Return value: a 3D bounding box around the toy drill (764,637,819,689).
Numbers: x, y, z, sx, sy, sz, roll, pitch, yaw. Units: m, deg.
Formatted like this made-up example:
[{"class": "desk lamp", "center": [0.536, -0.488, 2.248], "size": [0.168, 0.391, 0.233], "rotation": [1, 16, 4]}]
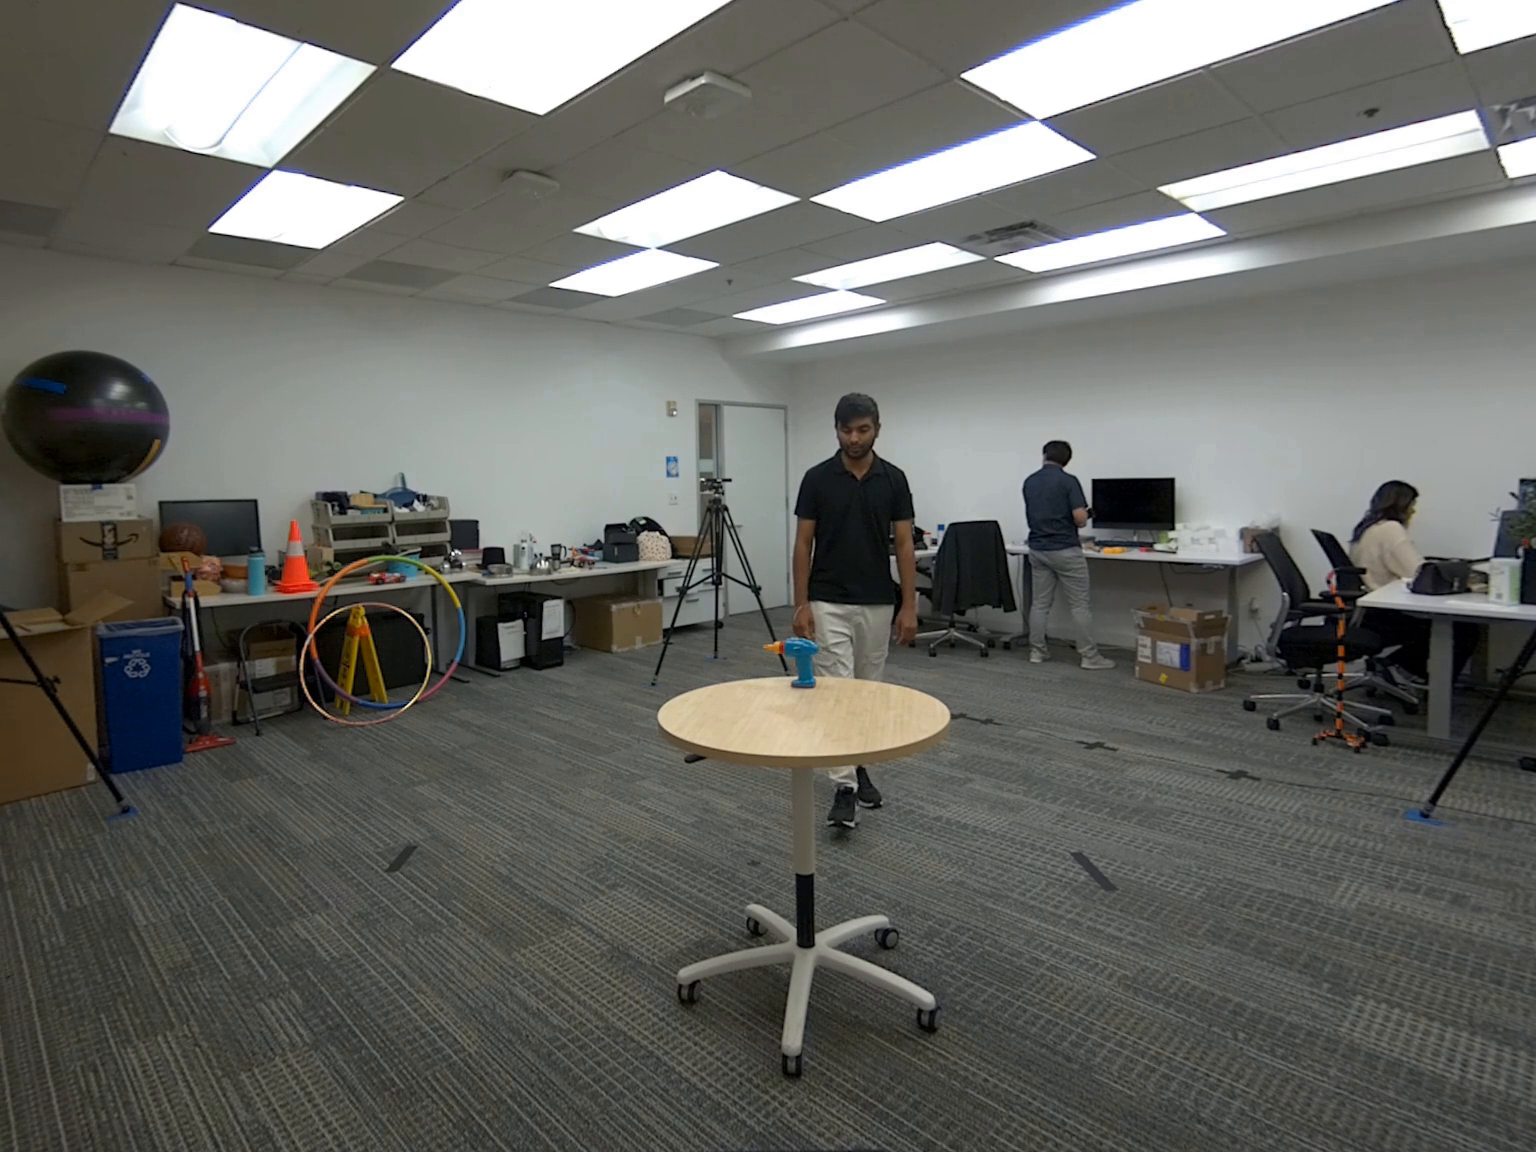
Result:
[{"class": "toy drill", "center": [0.075, 0.254, 2.527], "size": [0.172, 0.146, 0.060], "rotation": [0, 0, 12]}]
